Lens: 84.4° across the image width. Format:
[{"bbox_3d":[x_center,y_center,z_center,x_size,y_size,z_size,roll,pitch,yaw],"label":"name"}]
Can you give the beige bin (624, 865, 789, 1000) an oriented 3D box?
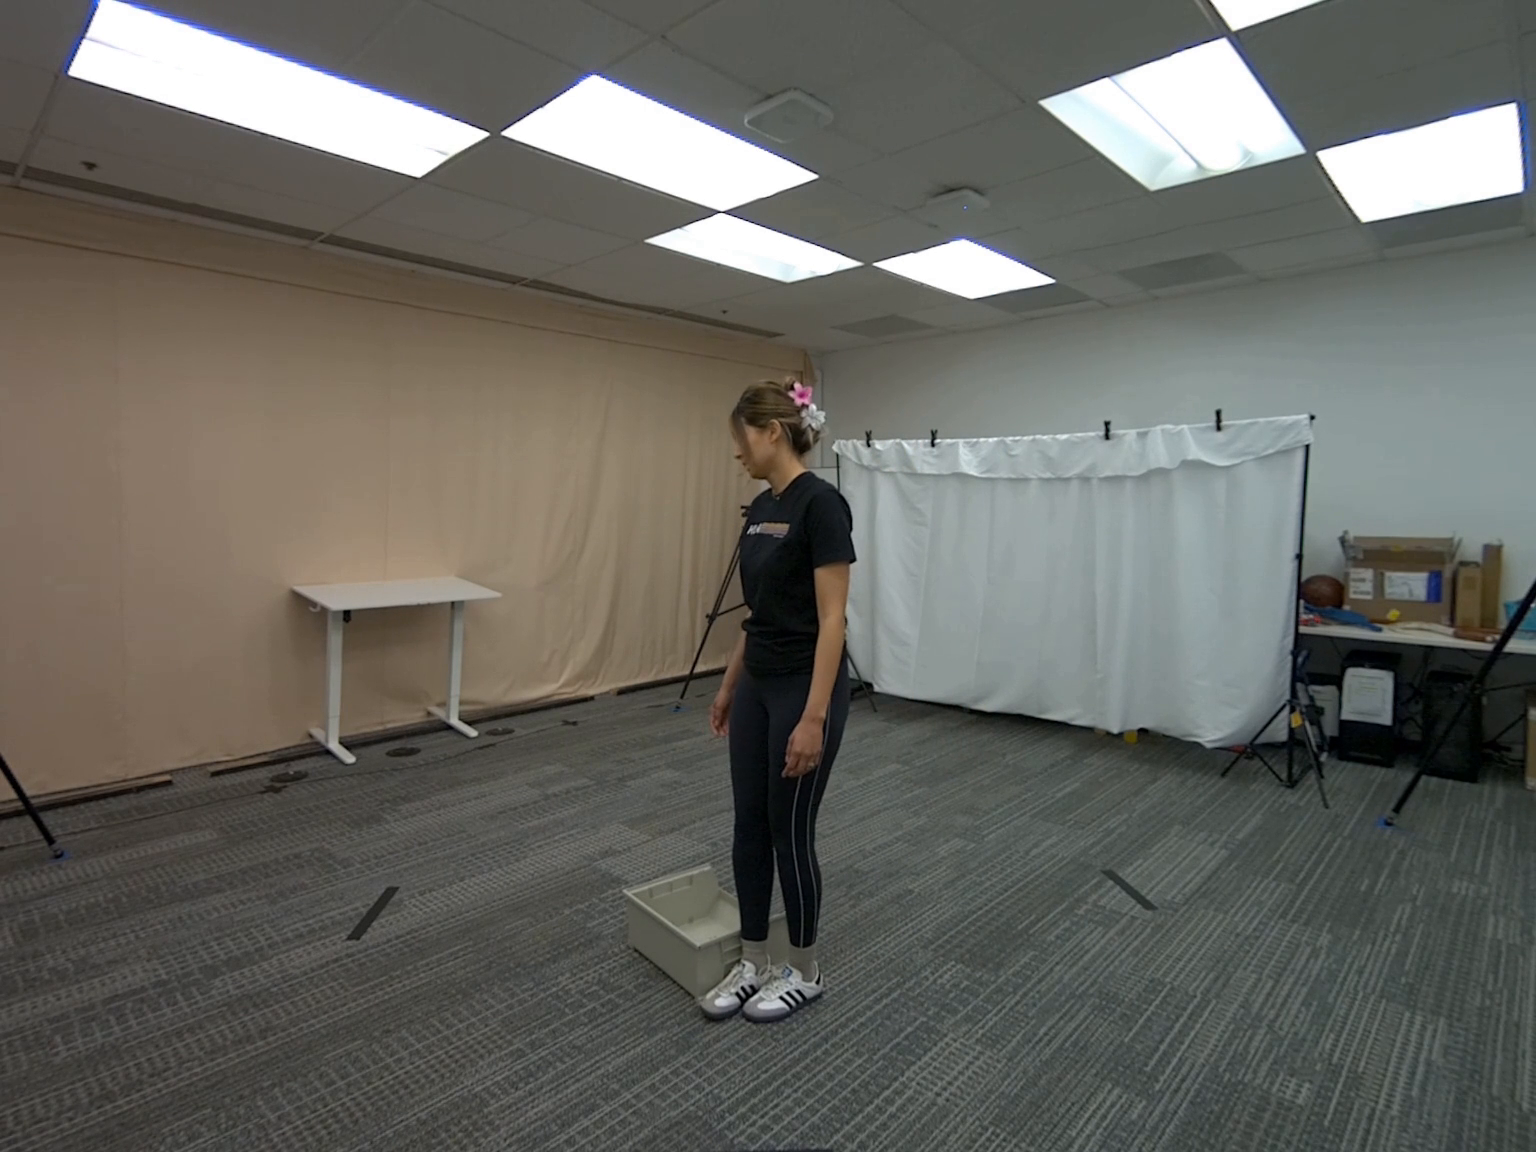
[{"bbox_3d":[-0.182,1.088,2.608,0.366,0.188,0.436,-5,7,-38],"label":"beige bin"}]
